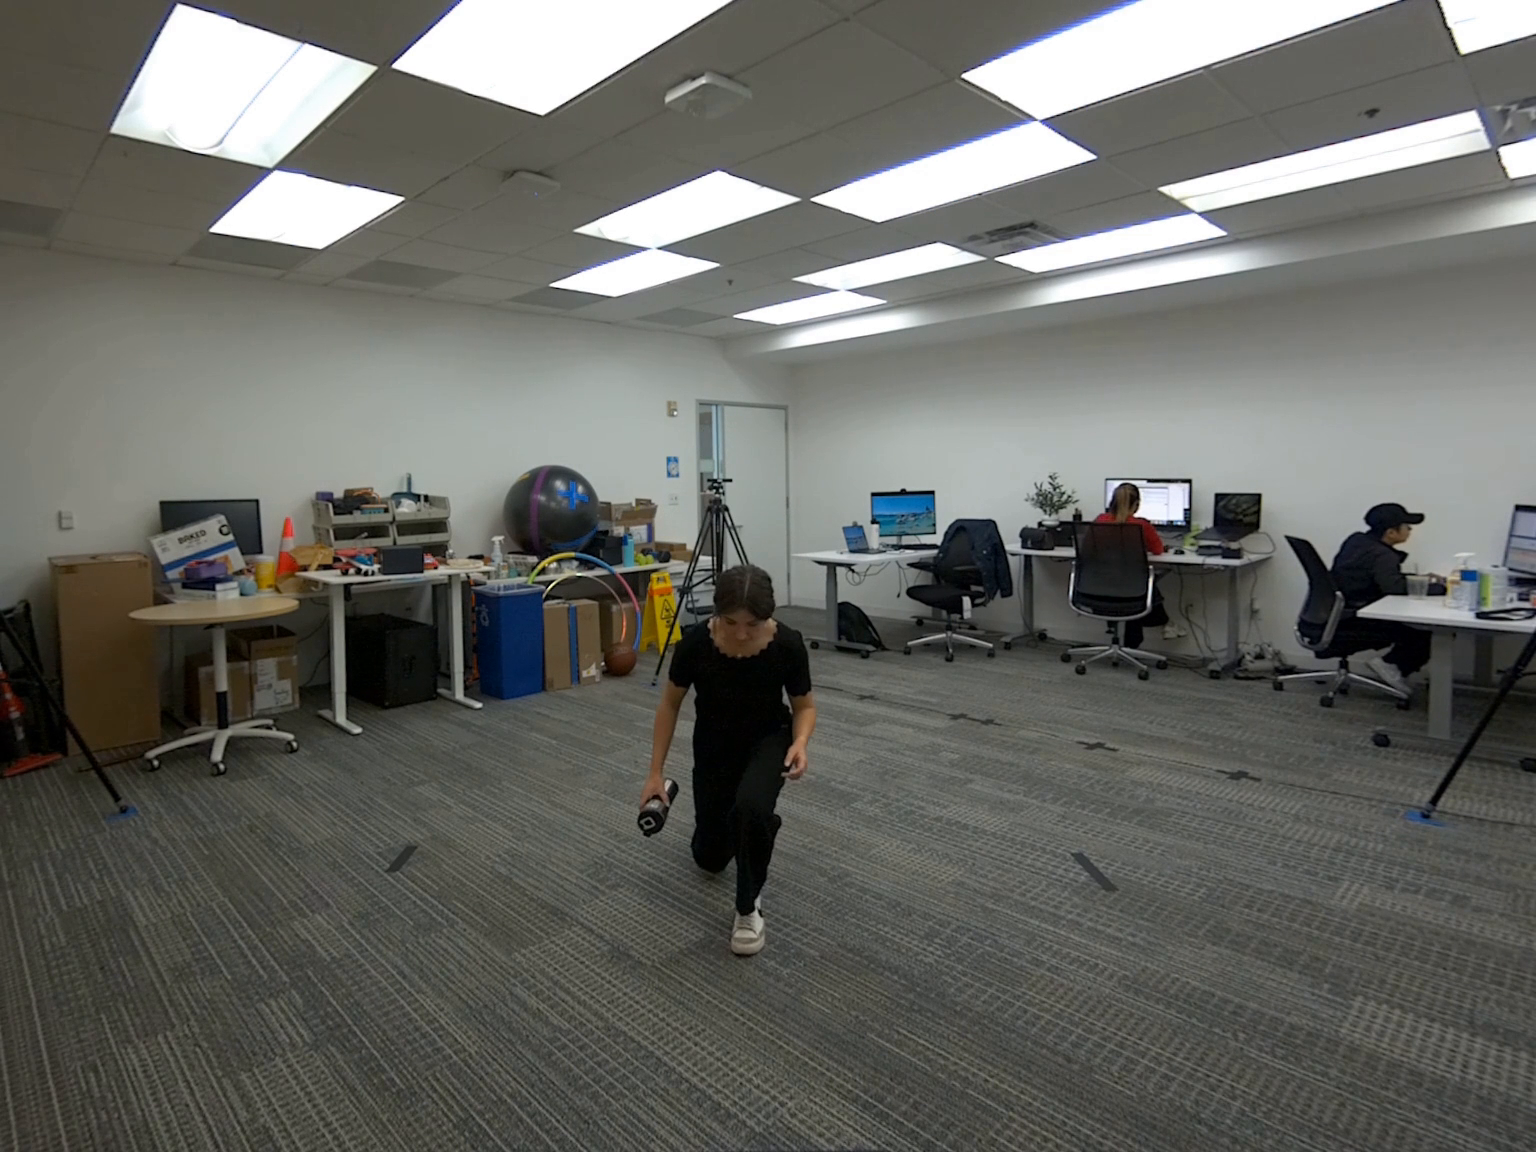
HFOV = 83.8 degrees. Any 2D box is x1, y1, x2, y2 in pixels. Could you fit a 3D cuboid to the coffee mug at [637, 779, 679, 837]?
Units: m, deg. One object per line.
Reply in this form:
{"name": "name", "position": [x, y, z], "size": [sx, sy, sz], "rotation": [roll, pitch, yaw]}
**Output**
{"name": "coffee mug", "position": [-0.355, 0.764, 2.795], "size": [0.088, 0.121, 0.204], "rotation": [20, 20, 4]}
